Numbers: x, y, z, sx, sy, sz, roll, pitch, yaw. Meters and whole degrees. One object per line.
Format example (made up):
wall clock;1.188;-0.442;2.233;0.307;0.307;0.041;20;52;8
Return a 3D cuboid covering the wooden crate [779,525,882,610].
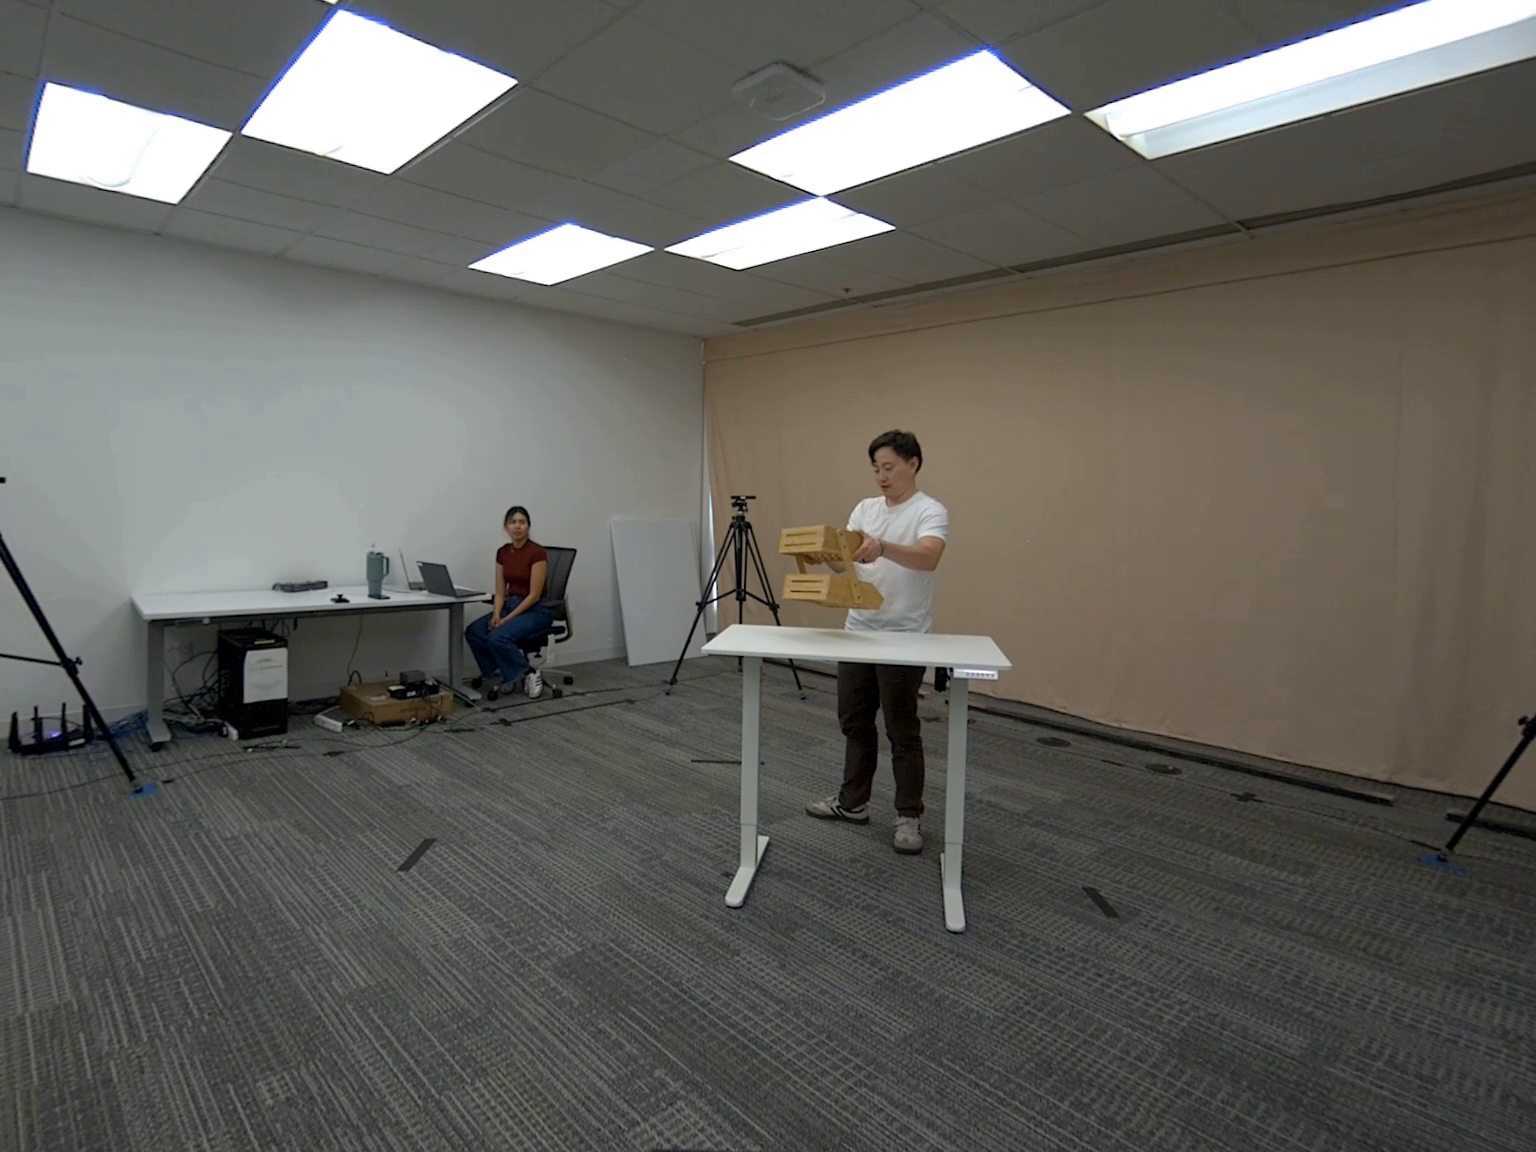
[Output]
wooden crate;0.231;-0.030;3.154;0.295;0.274;0.330;12;-7;-29
